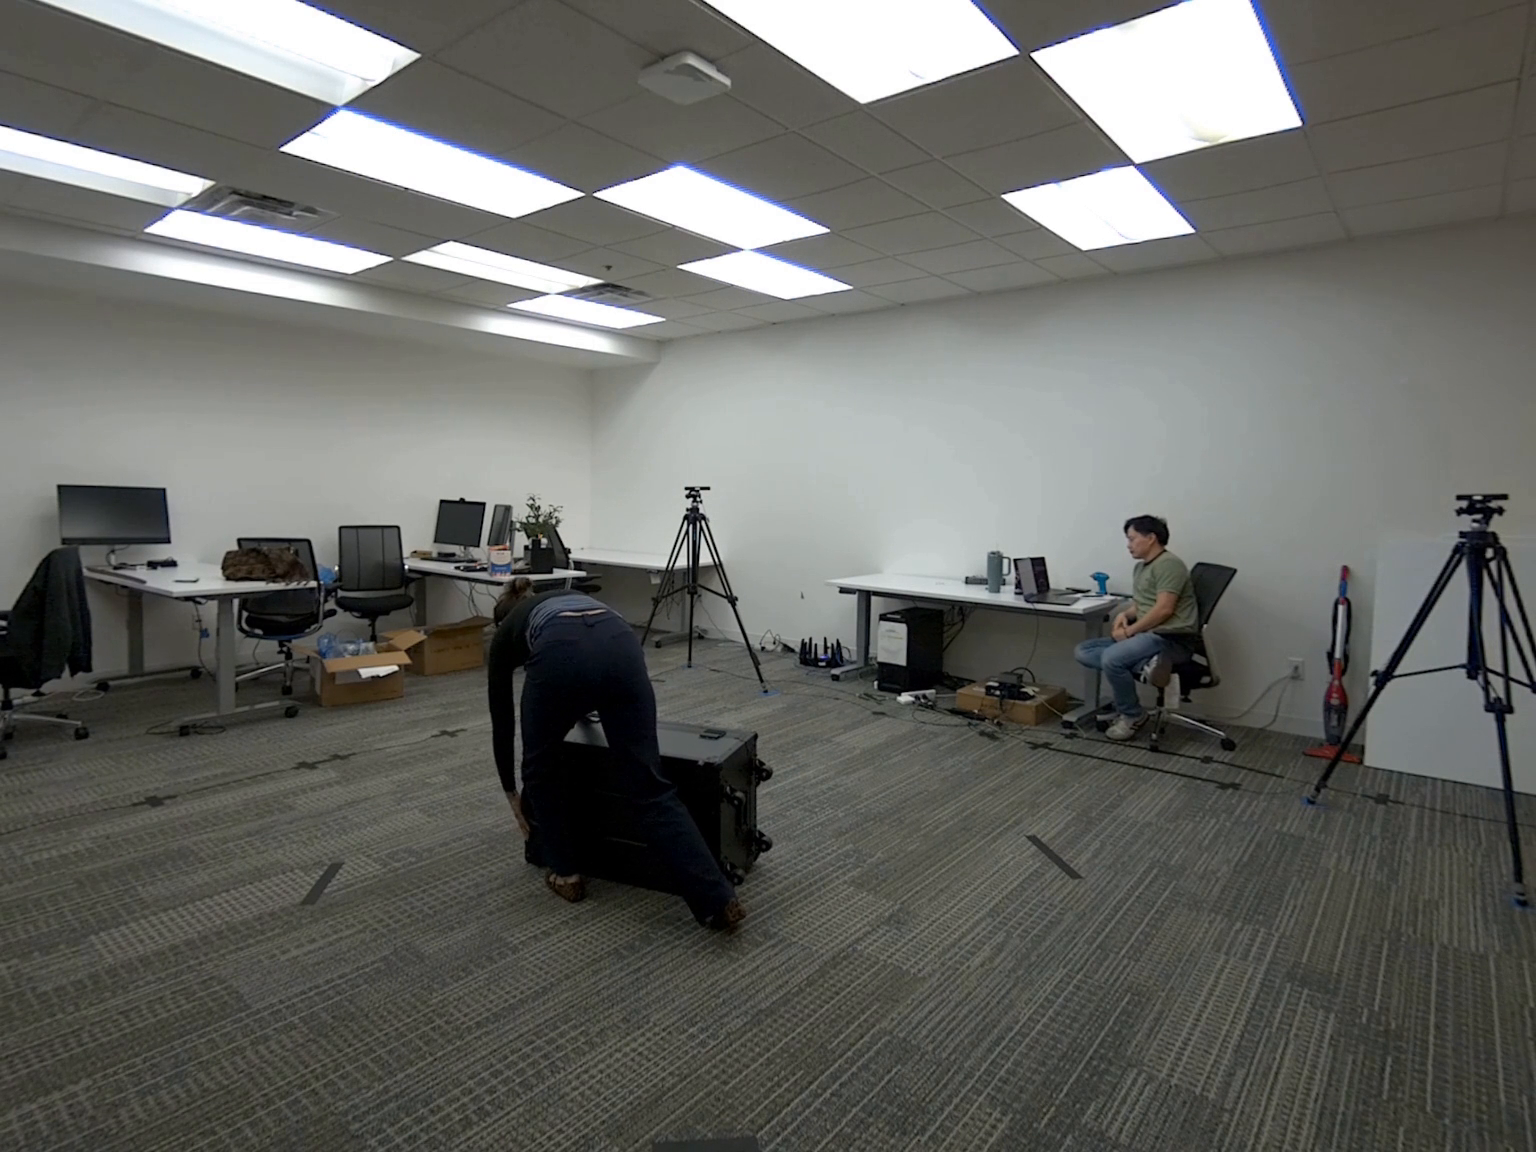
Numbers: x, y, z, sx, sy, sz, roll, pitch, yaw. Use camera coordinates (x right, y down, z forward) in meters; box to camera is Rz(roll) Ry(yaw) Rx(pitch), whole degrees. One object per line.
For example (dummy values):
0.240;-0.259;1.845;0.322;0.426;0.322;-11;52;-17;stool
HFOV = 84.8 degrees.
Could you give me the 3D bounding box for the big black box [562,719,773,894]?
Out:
-0.447;0.811;3.095;0.881;0.519;0.389;3;5;21;big black box
